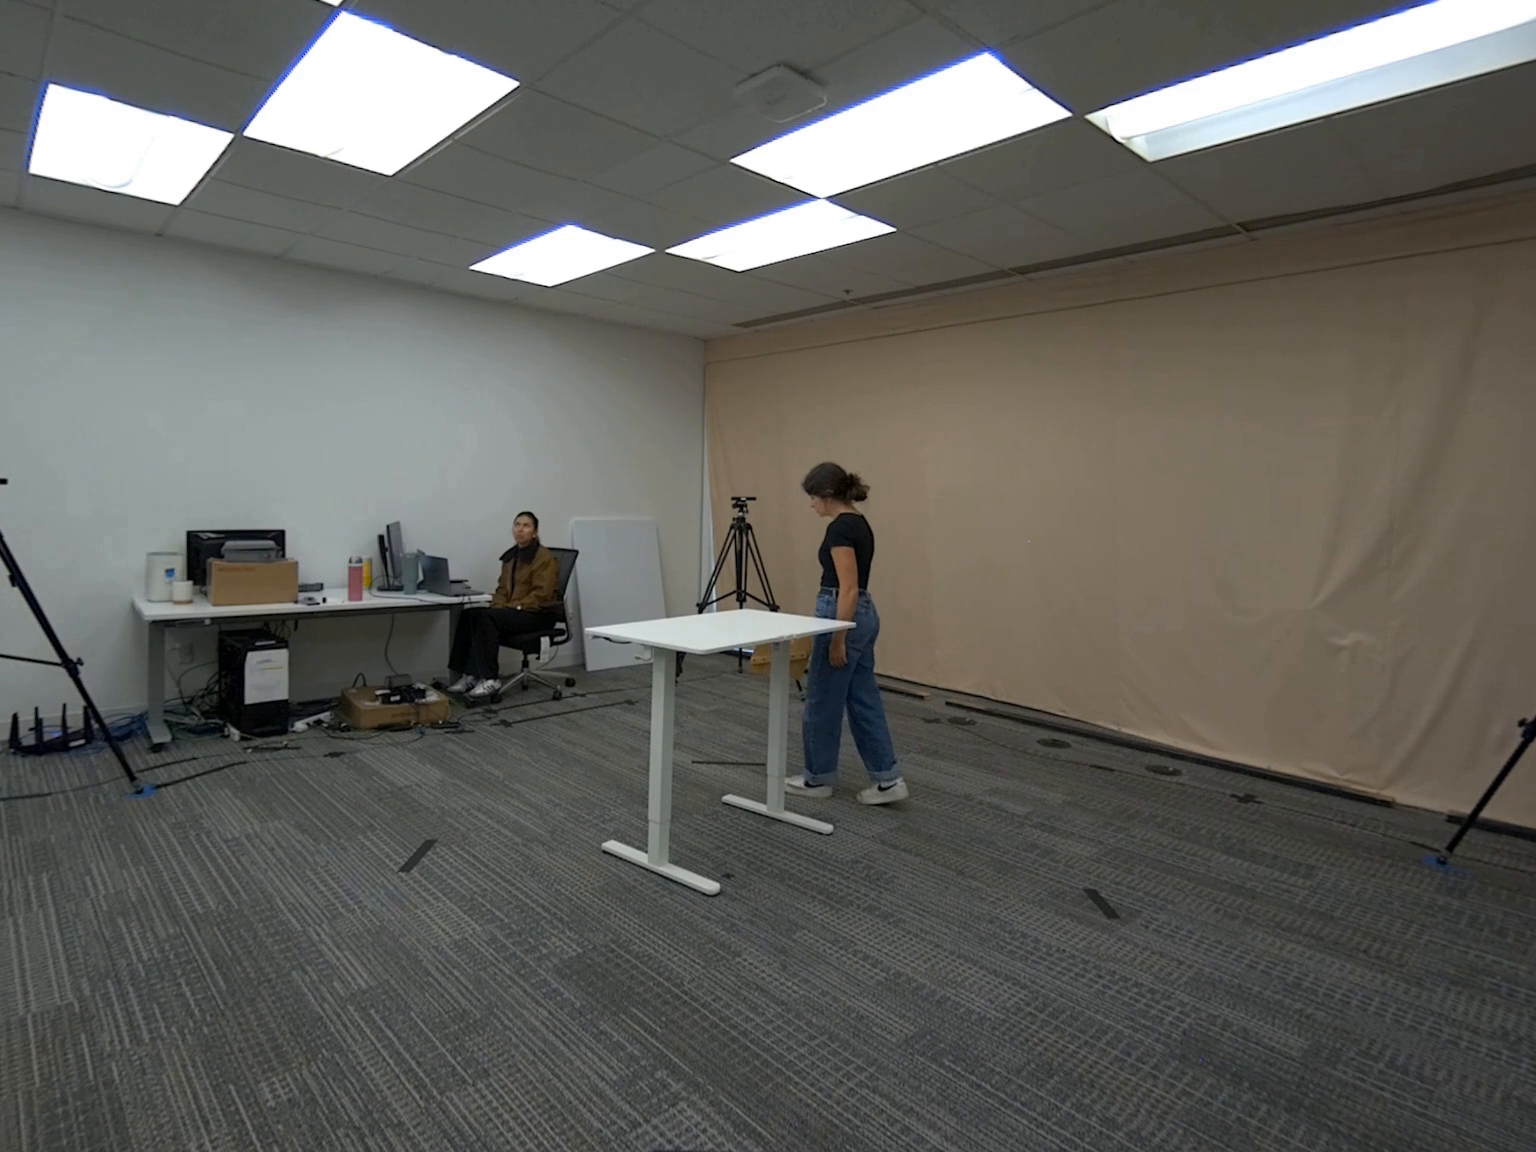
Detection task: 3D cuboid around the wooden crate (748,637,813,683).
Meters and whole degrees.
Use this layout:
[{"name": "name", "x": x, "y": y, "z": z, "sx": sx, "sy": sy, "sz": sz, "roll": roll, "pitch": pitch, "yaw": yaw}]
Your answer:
[{"name": "wooden crate", "x": 0.073, "y": 0.358, "z": 4.249, "sx": 0.275, "sy": 0.301, "sz": 0.323, "roll": 21, "pitch": 8, "yaw": 7}]
